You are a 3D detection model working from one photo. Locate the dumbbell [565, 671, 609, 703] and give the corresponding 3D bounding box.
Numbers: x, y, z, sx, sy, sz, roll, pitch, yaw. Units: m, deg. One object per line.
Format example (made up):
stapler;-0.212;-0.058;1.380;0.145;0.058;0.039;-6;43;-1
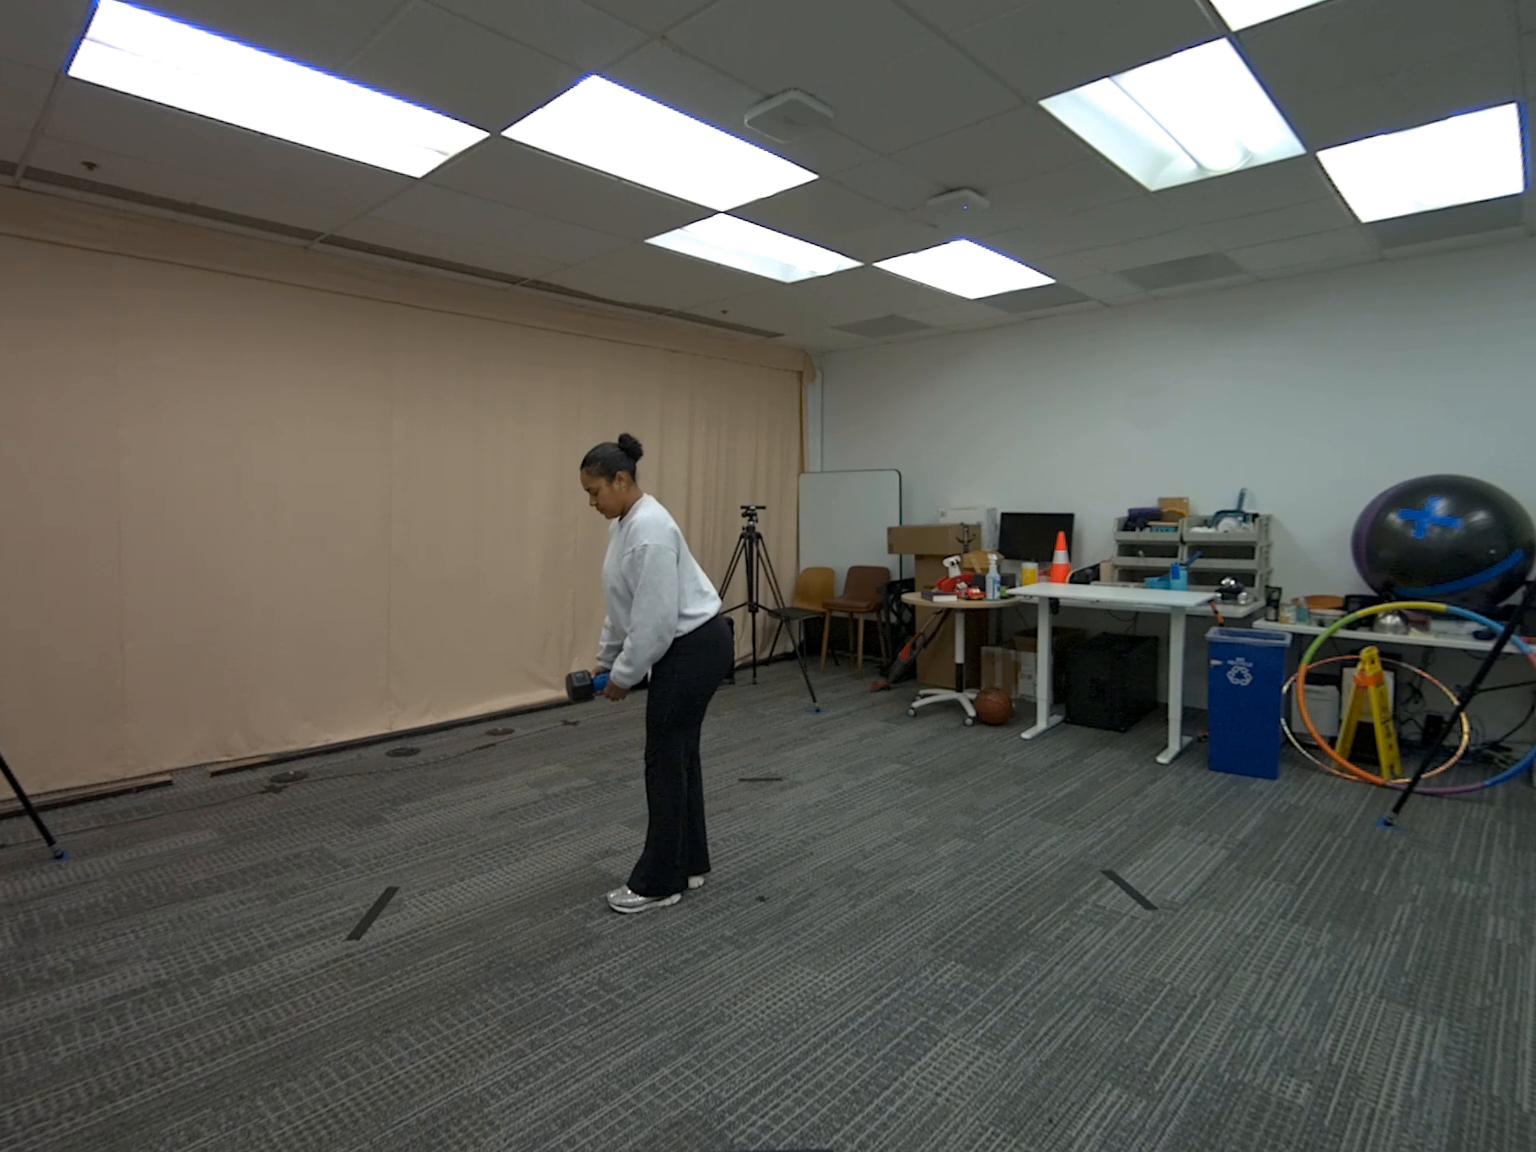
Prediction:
dumbbell;-0.585;0.386;3.104;0.287;0.121;0.112;-8;24;-24
